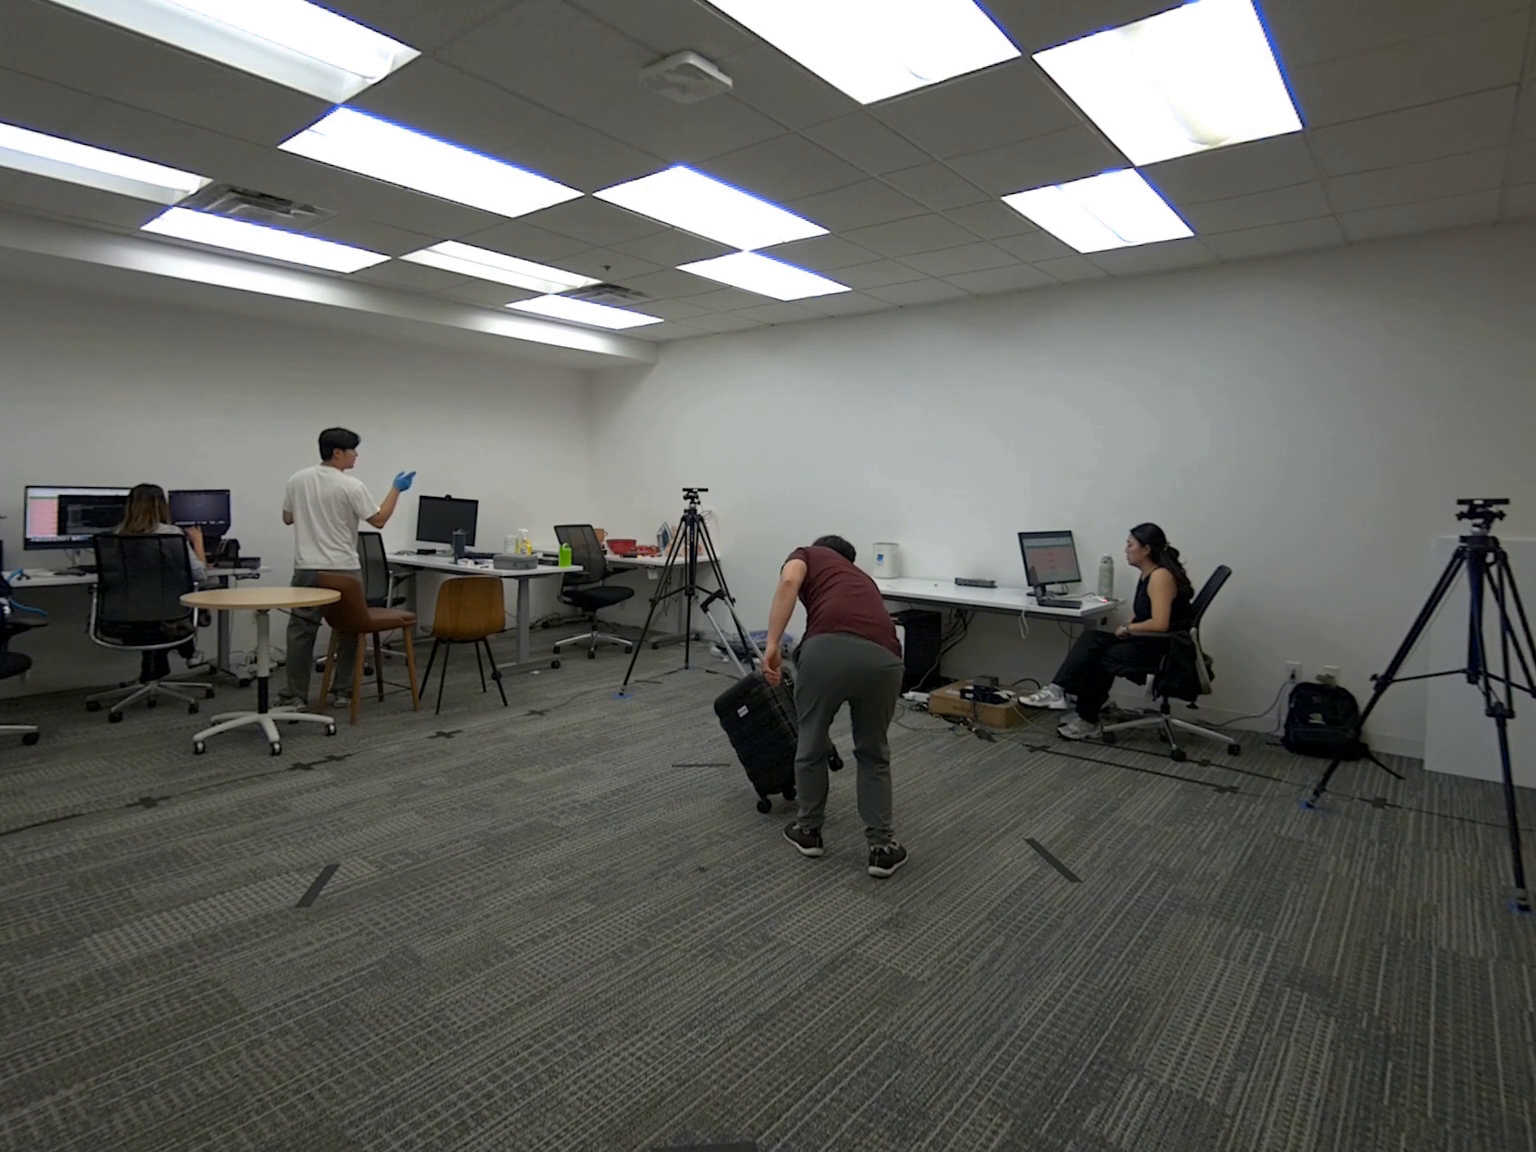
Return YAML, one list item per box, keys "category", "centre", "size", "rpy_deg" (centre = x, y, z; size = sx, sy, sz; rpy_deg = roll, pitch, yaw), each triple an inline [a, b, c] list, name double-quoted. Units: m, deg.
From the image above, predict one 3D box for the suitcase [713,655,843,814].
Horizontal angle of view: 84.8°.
- category: "suitcase"
  centre: [-0.086, 0.516, 3.826]
  size: [0.385, 1.002, 0.250]
  rpy_deg: [-41, -20, 29]
